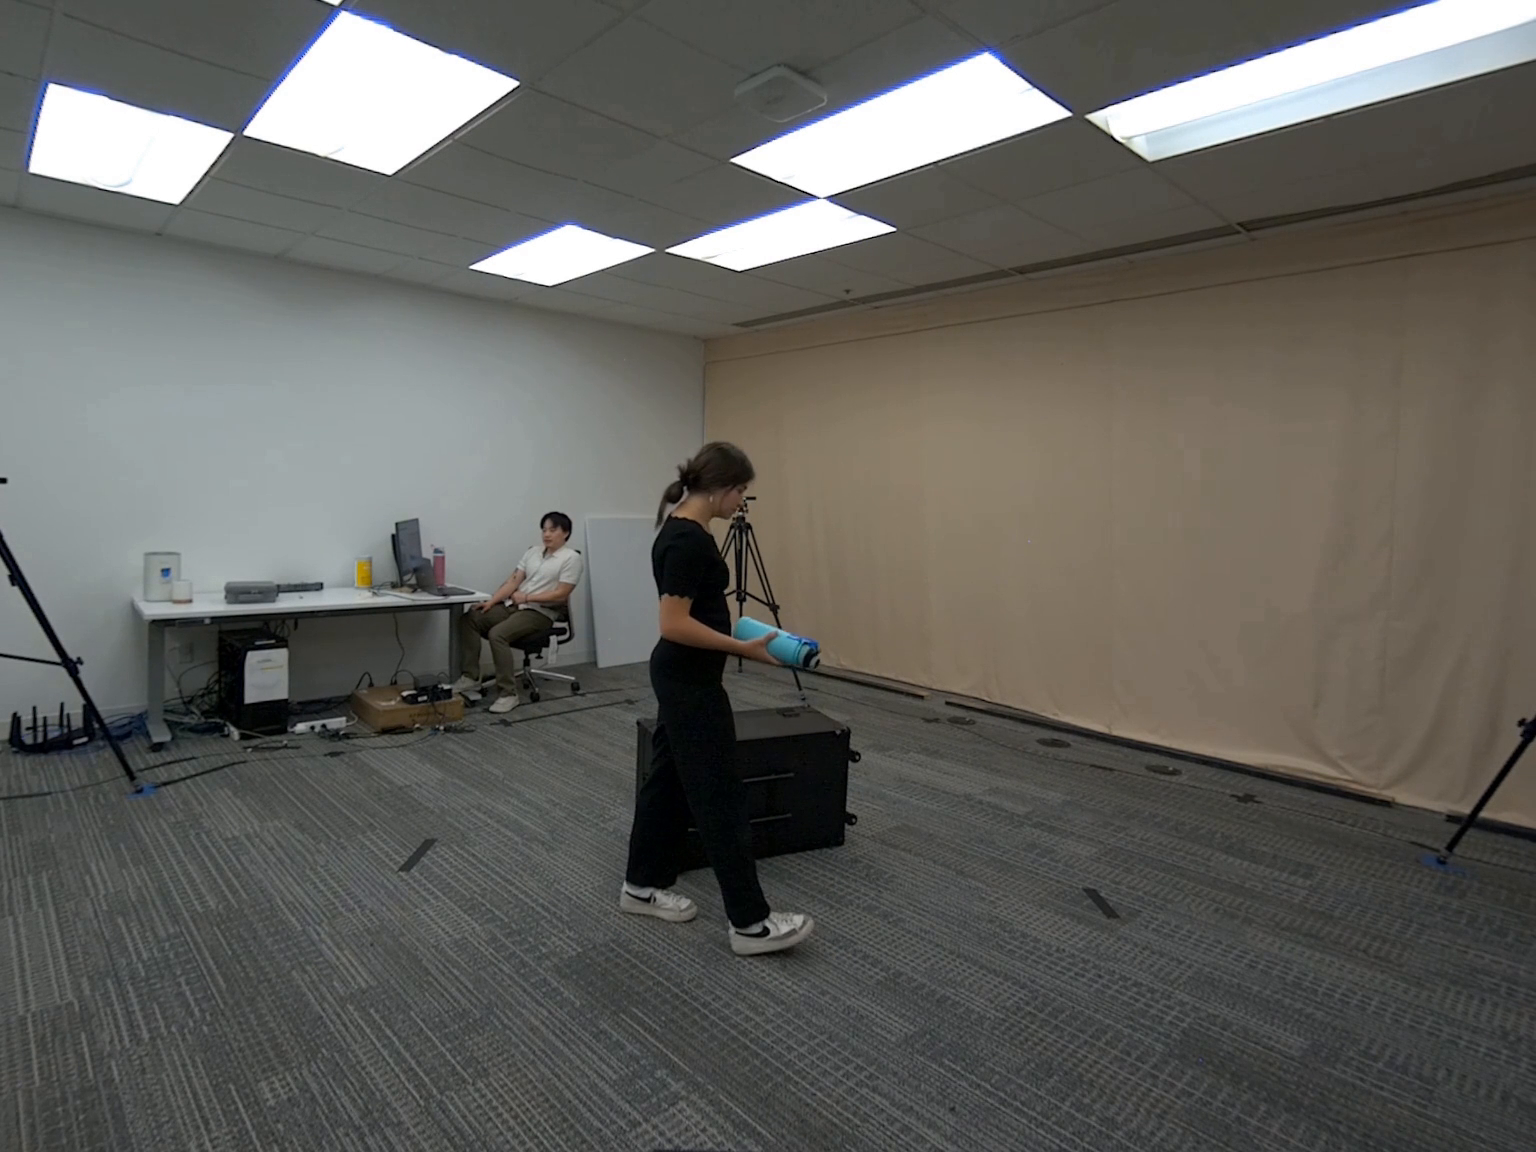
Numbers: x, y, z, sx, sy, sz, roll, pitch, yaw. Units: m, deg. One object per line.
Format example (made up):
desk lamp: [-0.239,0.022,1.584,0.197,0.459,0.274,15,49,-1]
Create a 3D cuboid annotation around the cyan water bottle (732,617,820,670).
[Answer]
cyan water bottle: [0.025,0.206,2.596,0.290,0.092,0.090,16,10,27]
